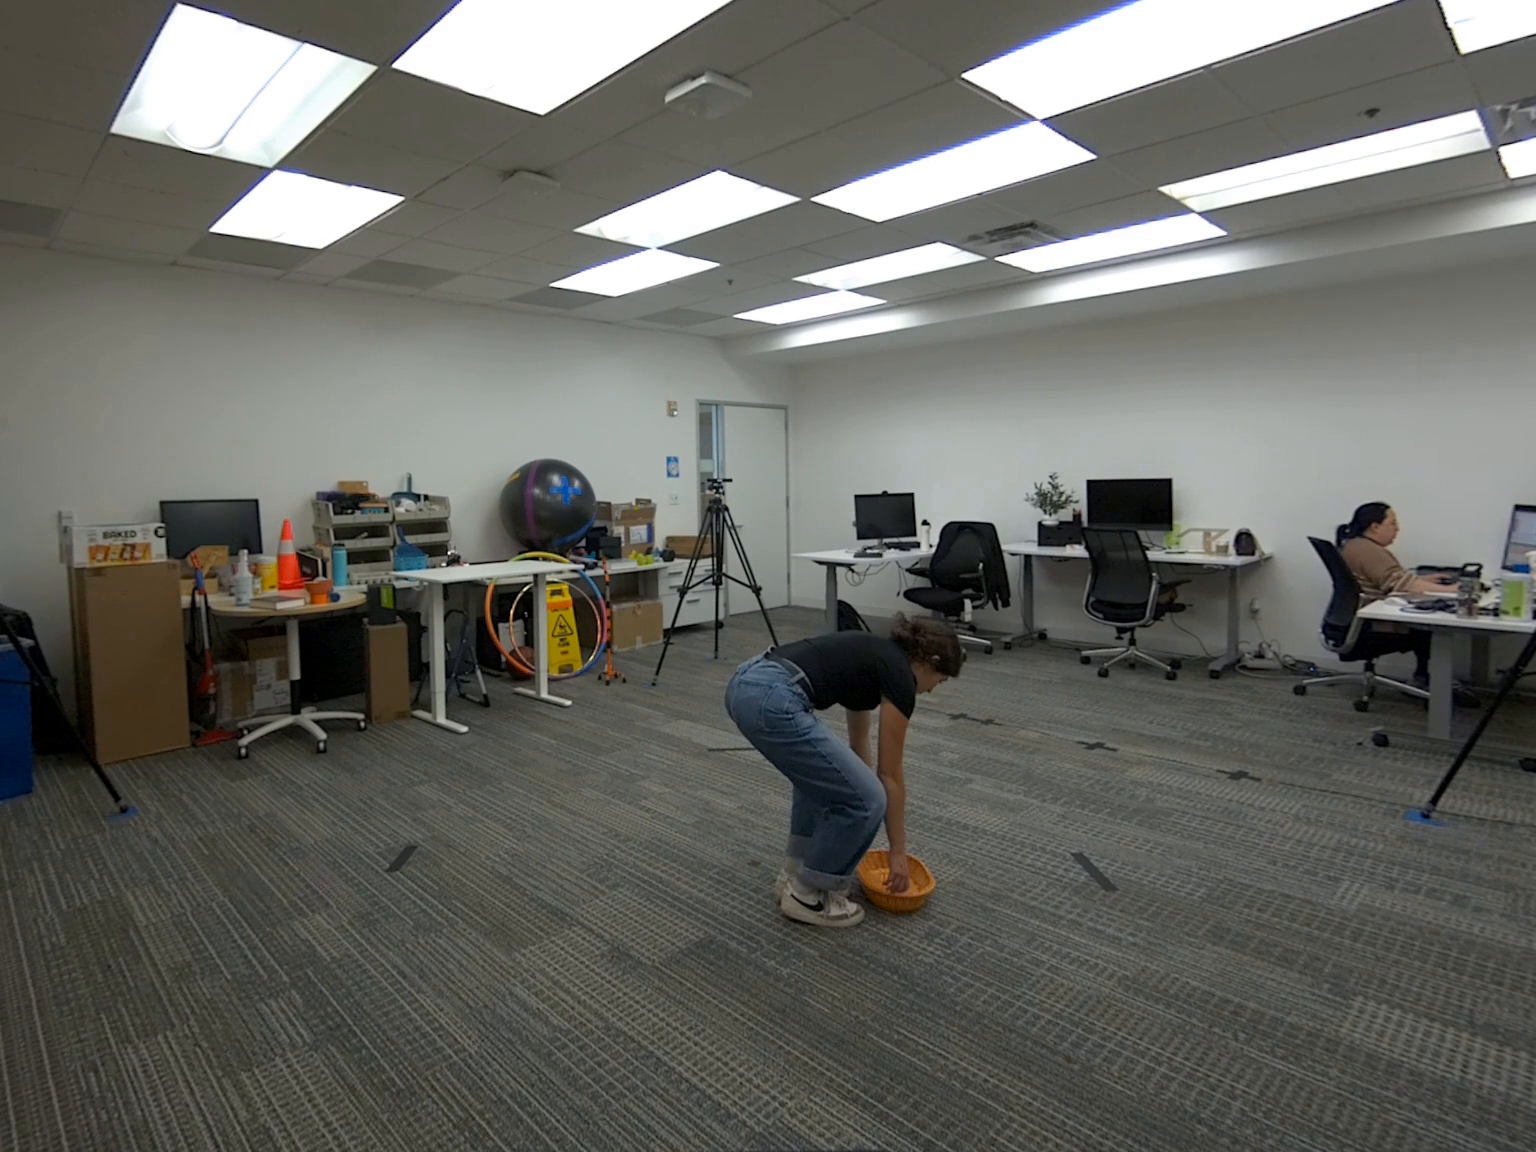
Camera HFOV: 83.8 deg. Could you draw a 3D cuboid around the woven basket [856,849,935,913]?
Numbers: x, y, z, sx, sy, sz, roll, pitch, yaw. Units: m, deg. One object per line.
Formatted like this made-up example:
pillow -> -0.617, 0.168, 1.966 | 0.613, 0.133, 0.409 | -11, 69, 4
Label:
woven basket -> 0.421, 1.025, 2.877 | 0.250, 0.073, 0.355 | -1, 6, -9
